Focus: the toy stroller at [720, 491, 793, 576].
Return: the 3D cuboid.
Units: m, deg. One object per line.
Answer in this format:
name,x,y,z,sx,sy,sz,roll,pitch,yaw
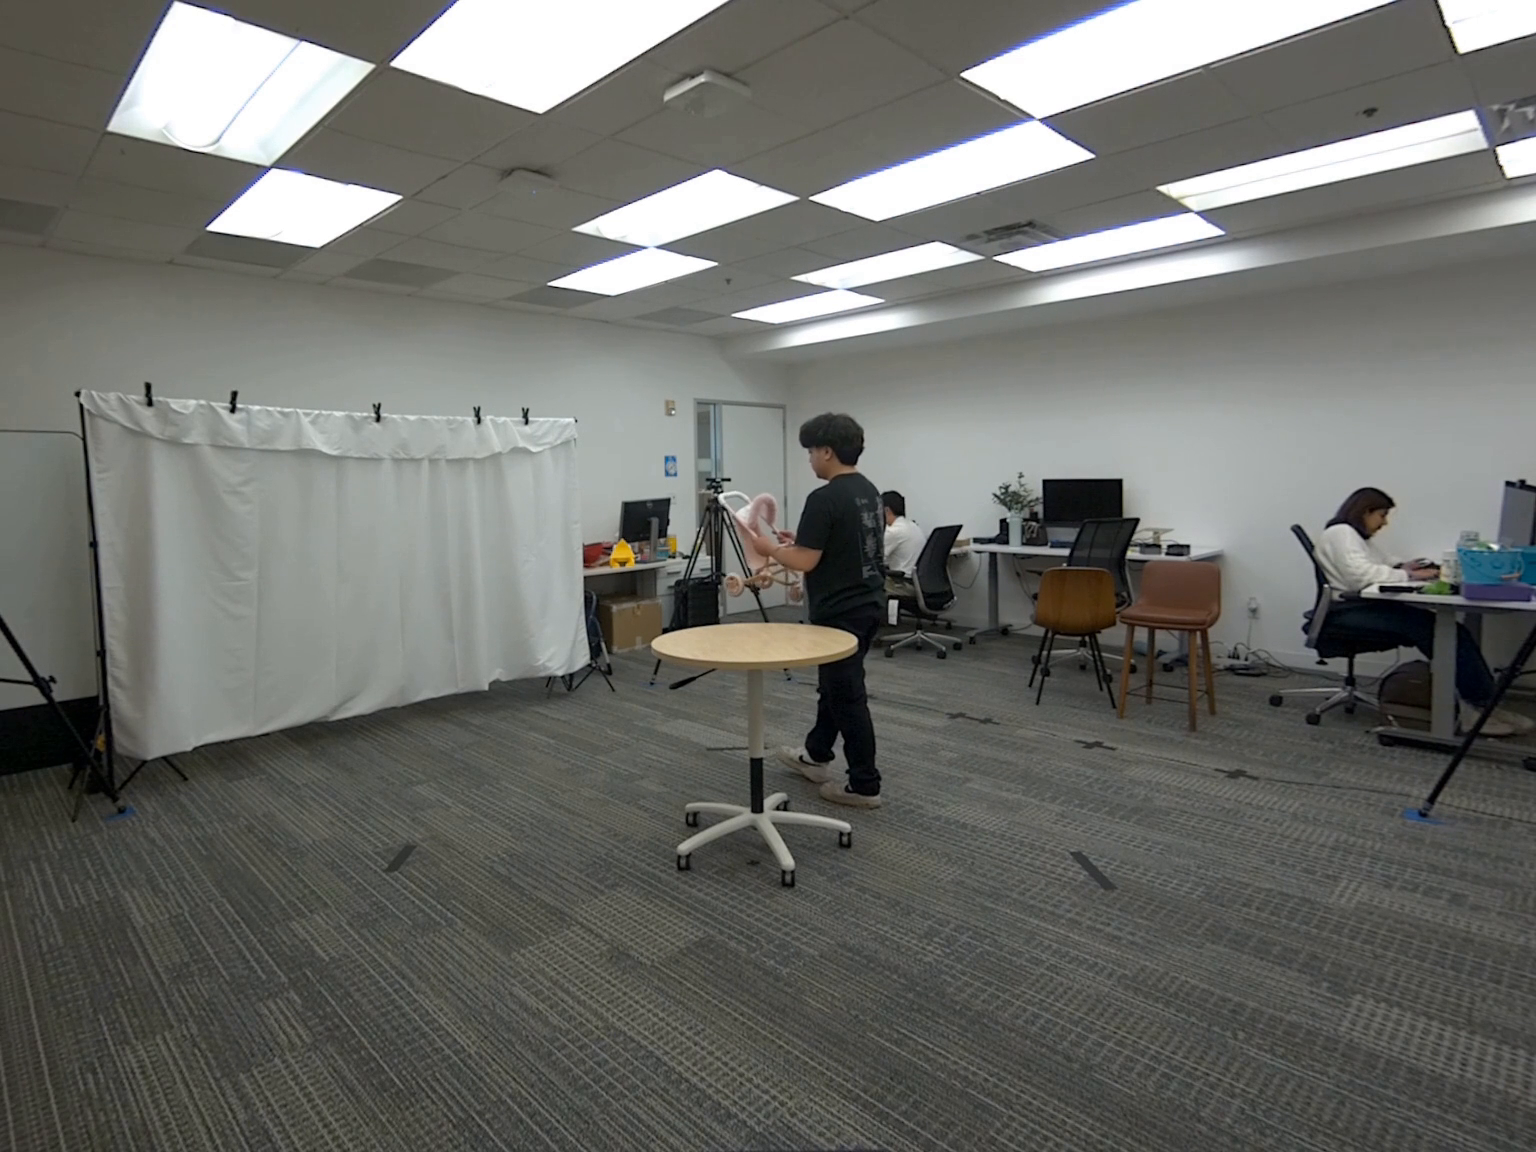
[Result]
toy stroller,-0.020,-0.135,3.905,0.350,0.535,0.274,-7,1,39
